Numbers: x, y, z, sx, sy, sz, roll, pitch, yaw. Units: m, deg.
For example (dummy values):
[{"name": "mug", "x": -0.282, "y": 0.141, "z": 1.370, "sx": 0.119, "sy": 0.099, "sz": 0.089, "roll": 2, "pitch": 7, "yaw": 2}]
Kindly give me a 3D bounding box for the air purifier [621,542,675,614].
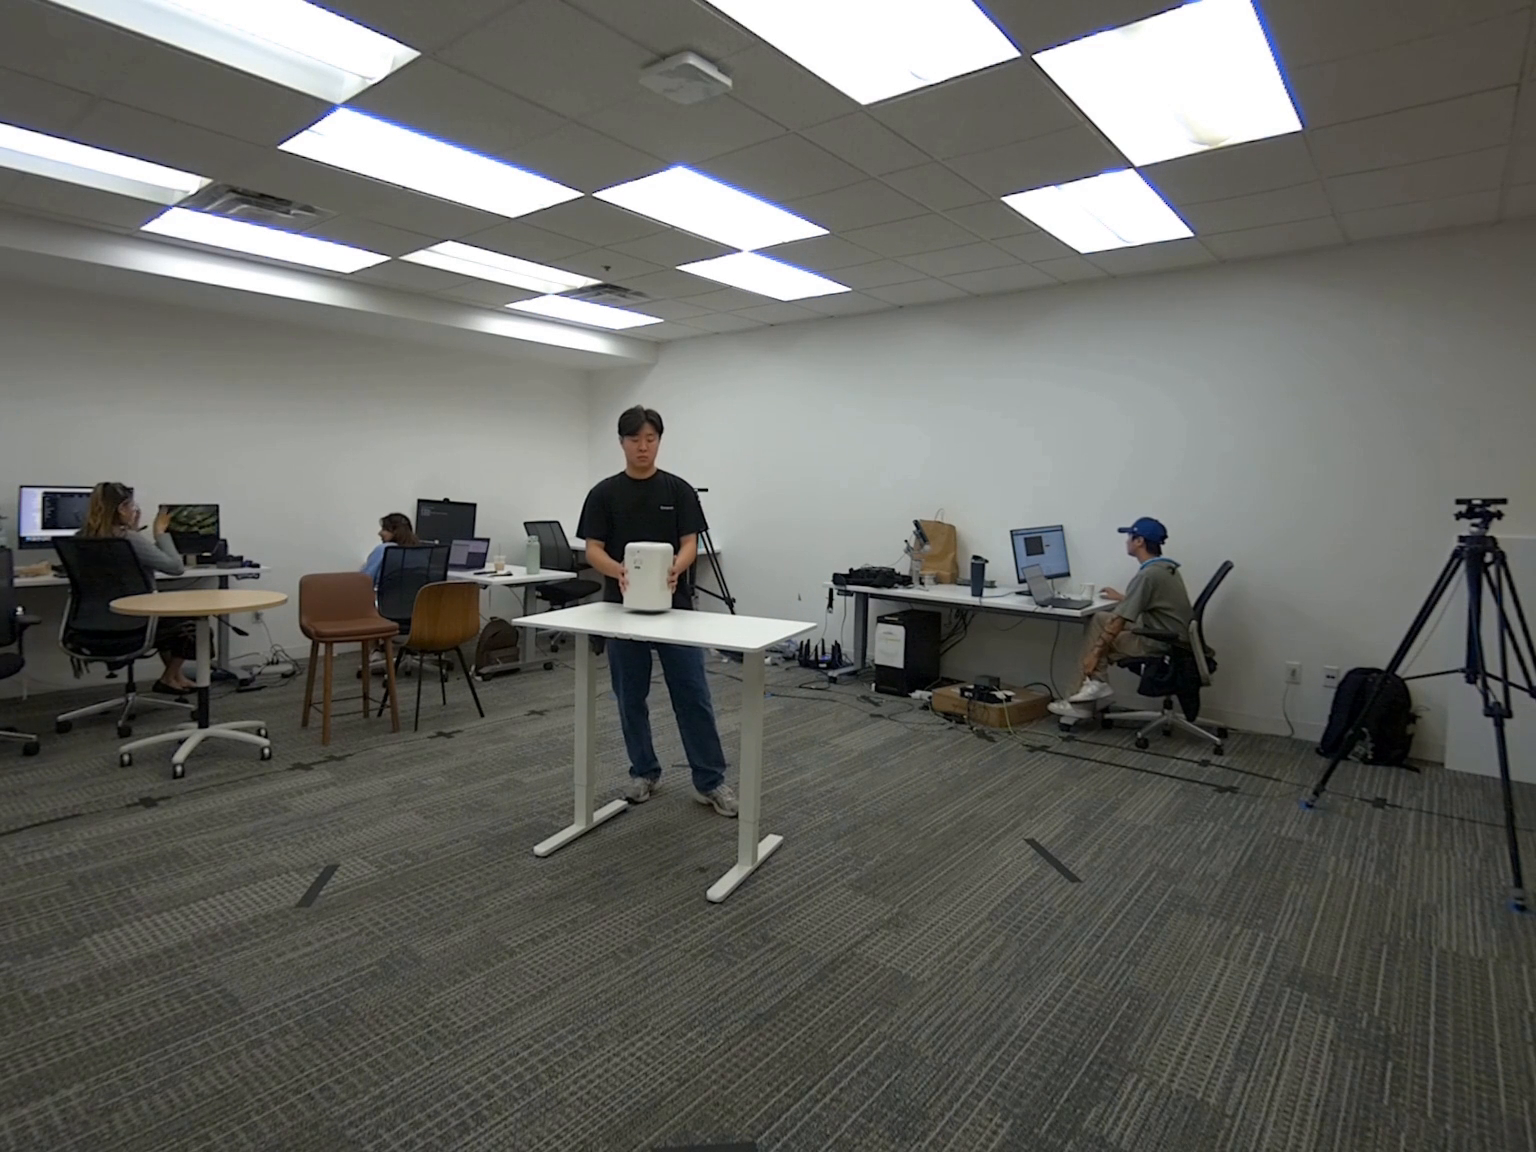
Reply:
[{"name": "air purifier", "x": -0.499, "y": -0.005, "z": 3.450, "sx": 0.175, "sy": 0.265, "sz": 0.168, "roll": 3, "pitch": 3, "yaw": 22}]
